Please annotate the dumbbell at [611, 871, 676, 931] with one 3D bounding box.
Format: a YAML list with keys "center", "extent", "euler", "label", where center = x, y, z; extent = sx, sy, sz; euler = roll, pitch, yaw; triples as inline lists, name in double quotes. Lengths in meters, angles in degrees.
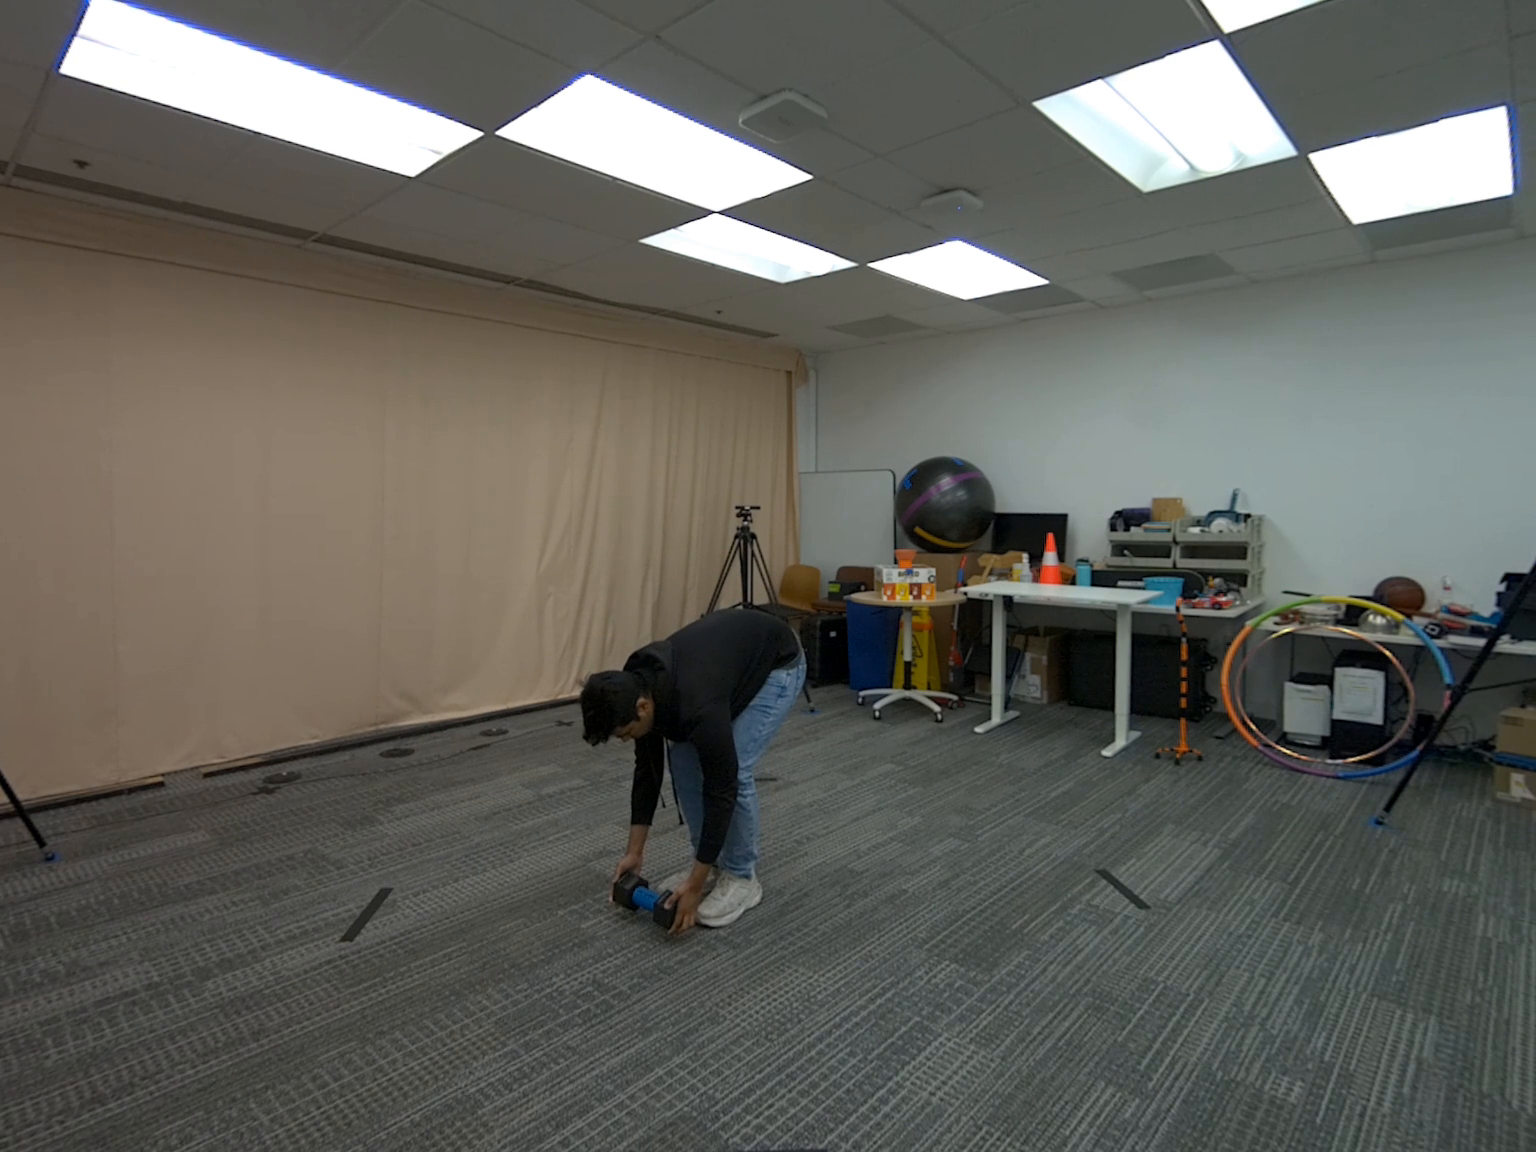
- center: [-0.383, 1.081, 2.780]
  extent: [0.303, 0.107, 0.121]
  euler: [3, 28, 44]
  label: "dumbbell"
